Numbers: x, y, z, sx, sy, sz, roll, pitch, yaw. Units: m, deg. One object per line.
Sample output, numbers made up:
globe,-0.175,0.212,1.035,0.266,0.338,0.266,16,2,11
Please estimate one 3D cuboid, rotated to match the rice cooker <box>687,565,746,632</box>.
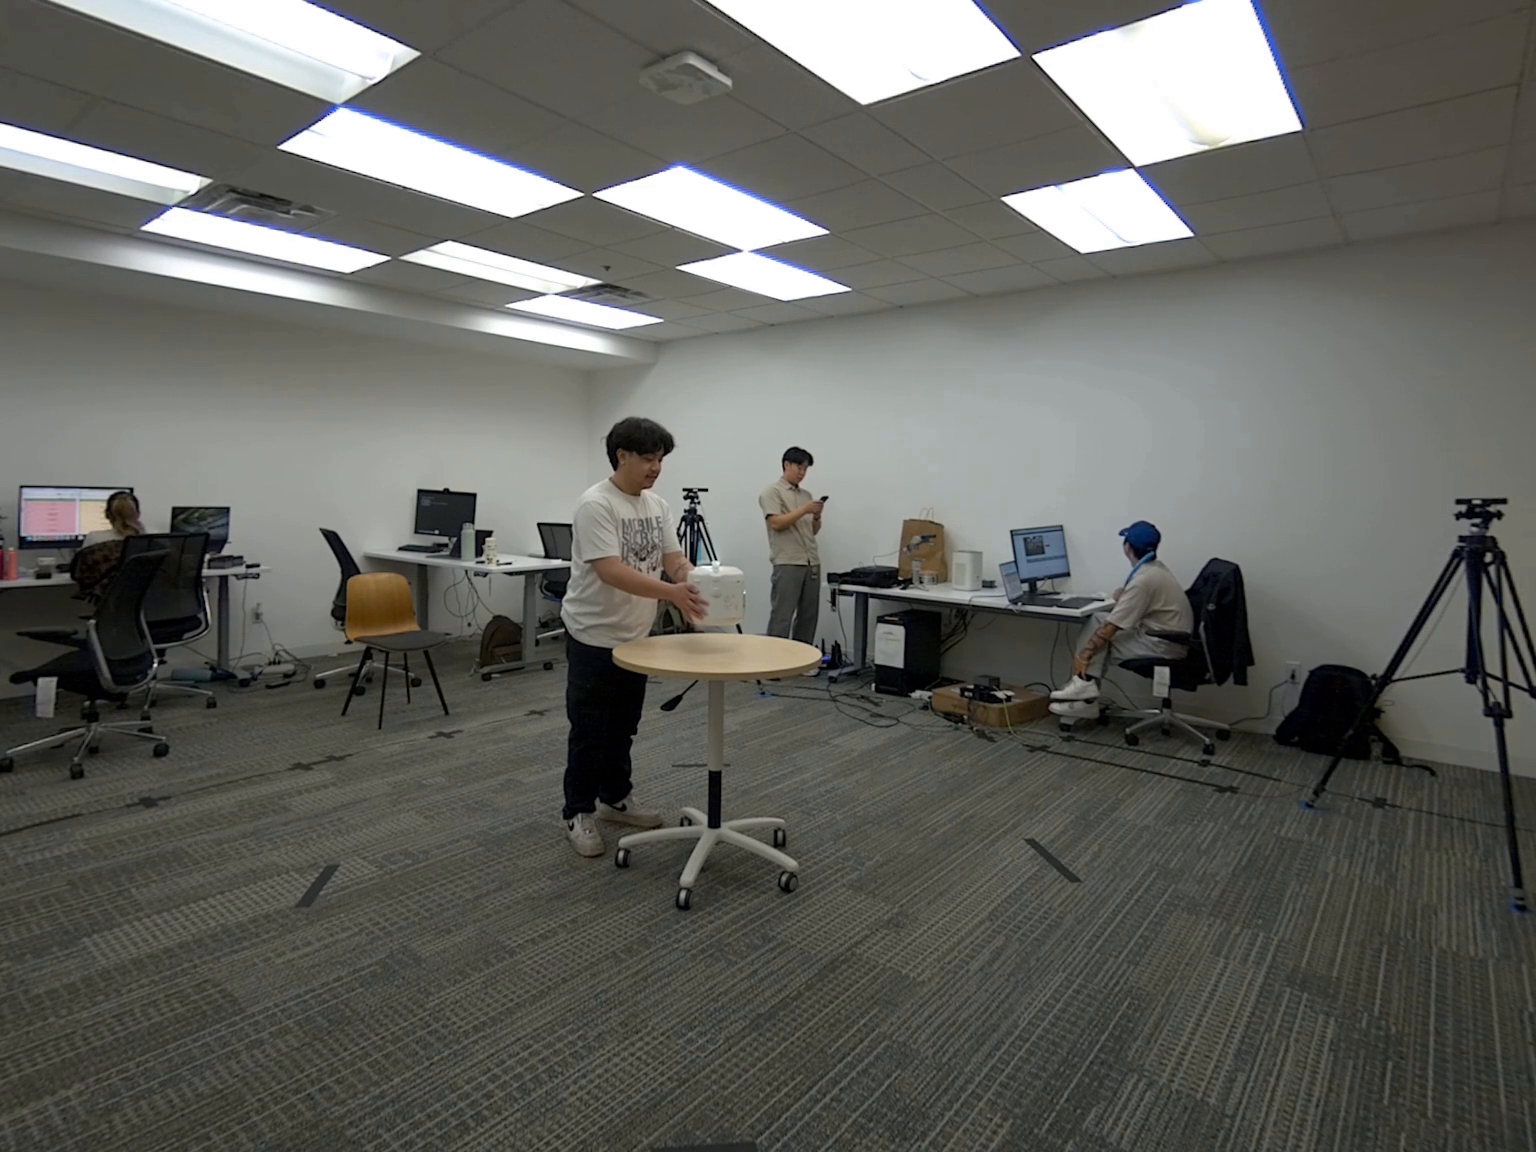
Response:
rice cooker,-0.201,0.058,3.127,0.217,0.232,0.221,-1,2,-1
